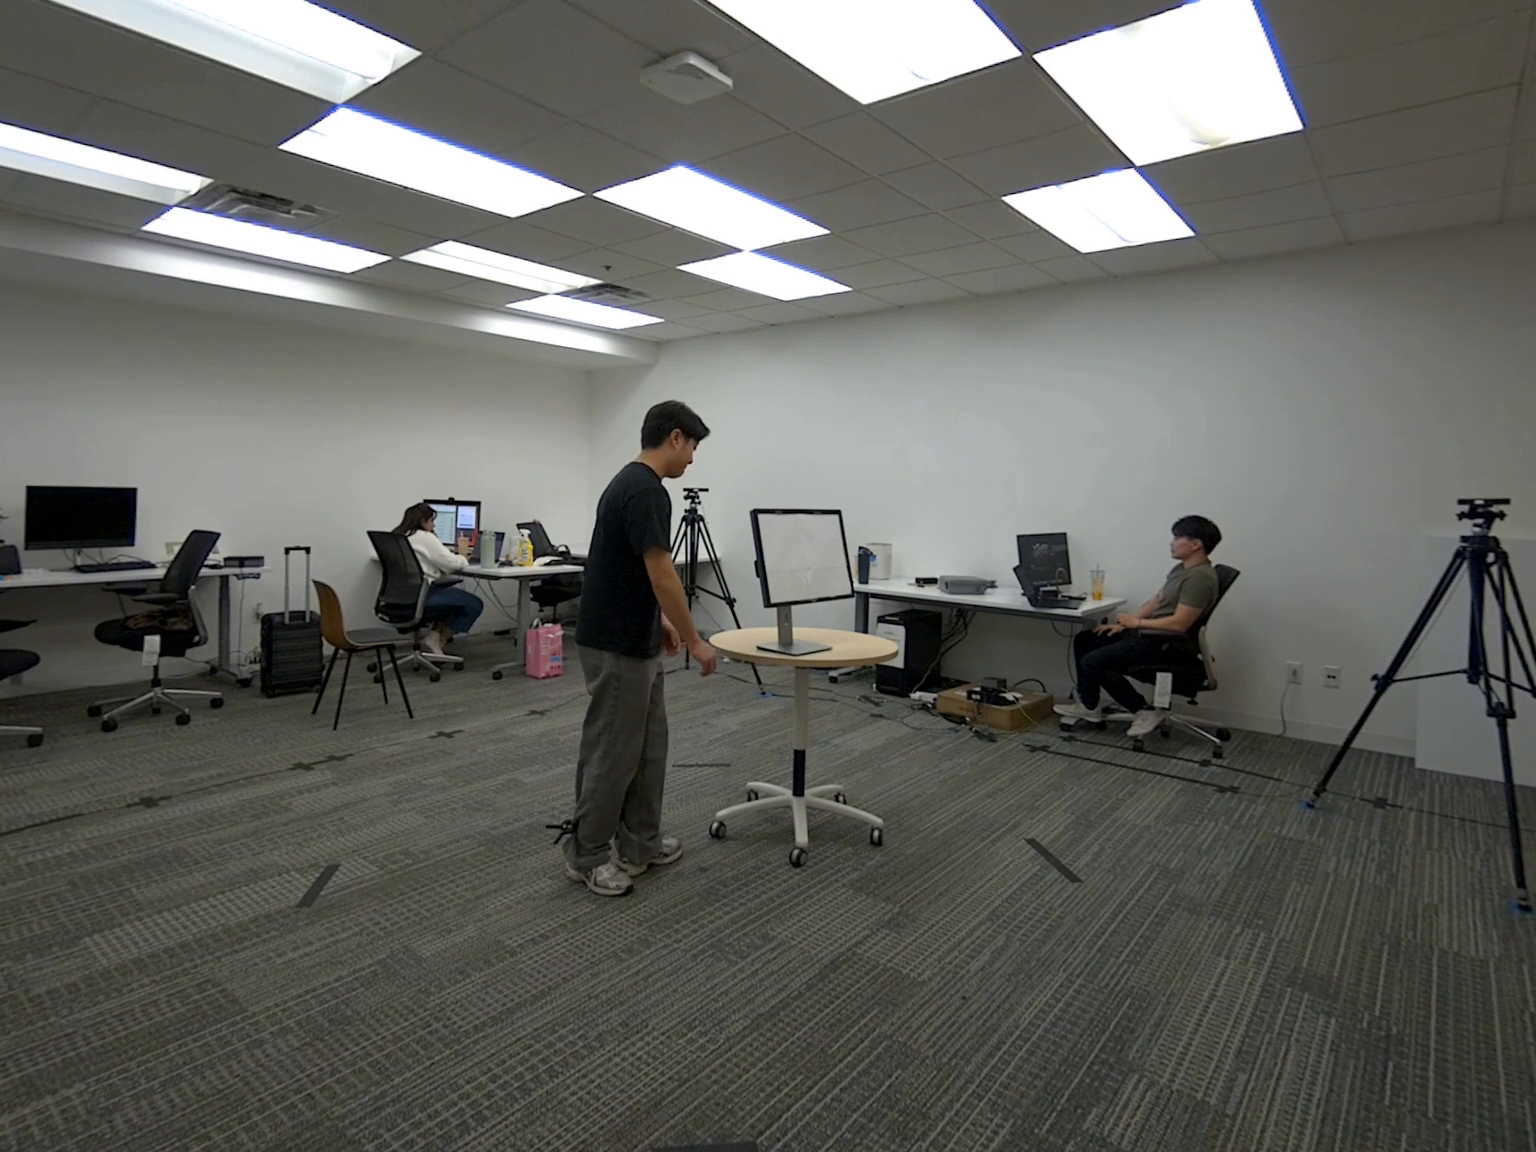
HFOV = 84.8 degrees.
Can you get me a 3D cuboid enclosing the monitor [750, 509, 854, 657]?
[{"bbox_3d":[0.084,0.014,3.308,0.216,0.555,0.548,-5,-1,40],"label":"monitor"}]
